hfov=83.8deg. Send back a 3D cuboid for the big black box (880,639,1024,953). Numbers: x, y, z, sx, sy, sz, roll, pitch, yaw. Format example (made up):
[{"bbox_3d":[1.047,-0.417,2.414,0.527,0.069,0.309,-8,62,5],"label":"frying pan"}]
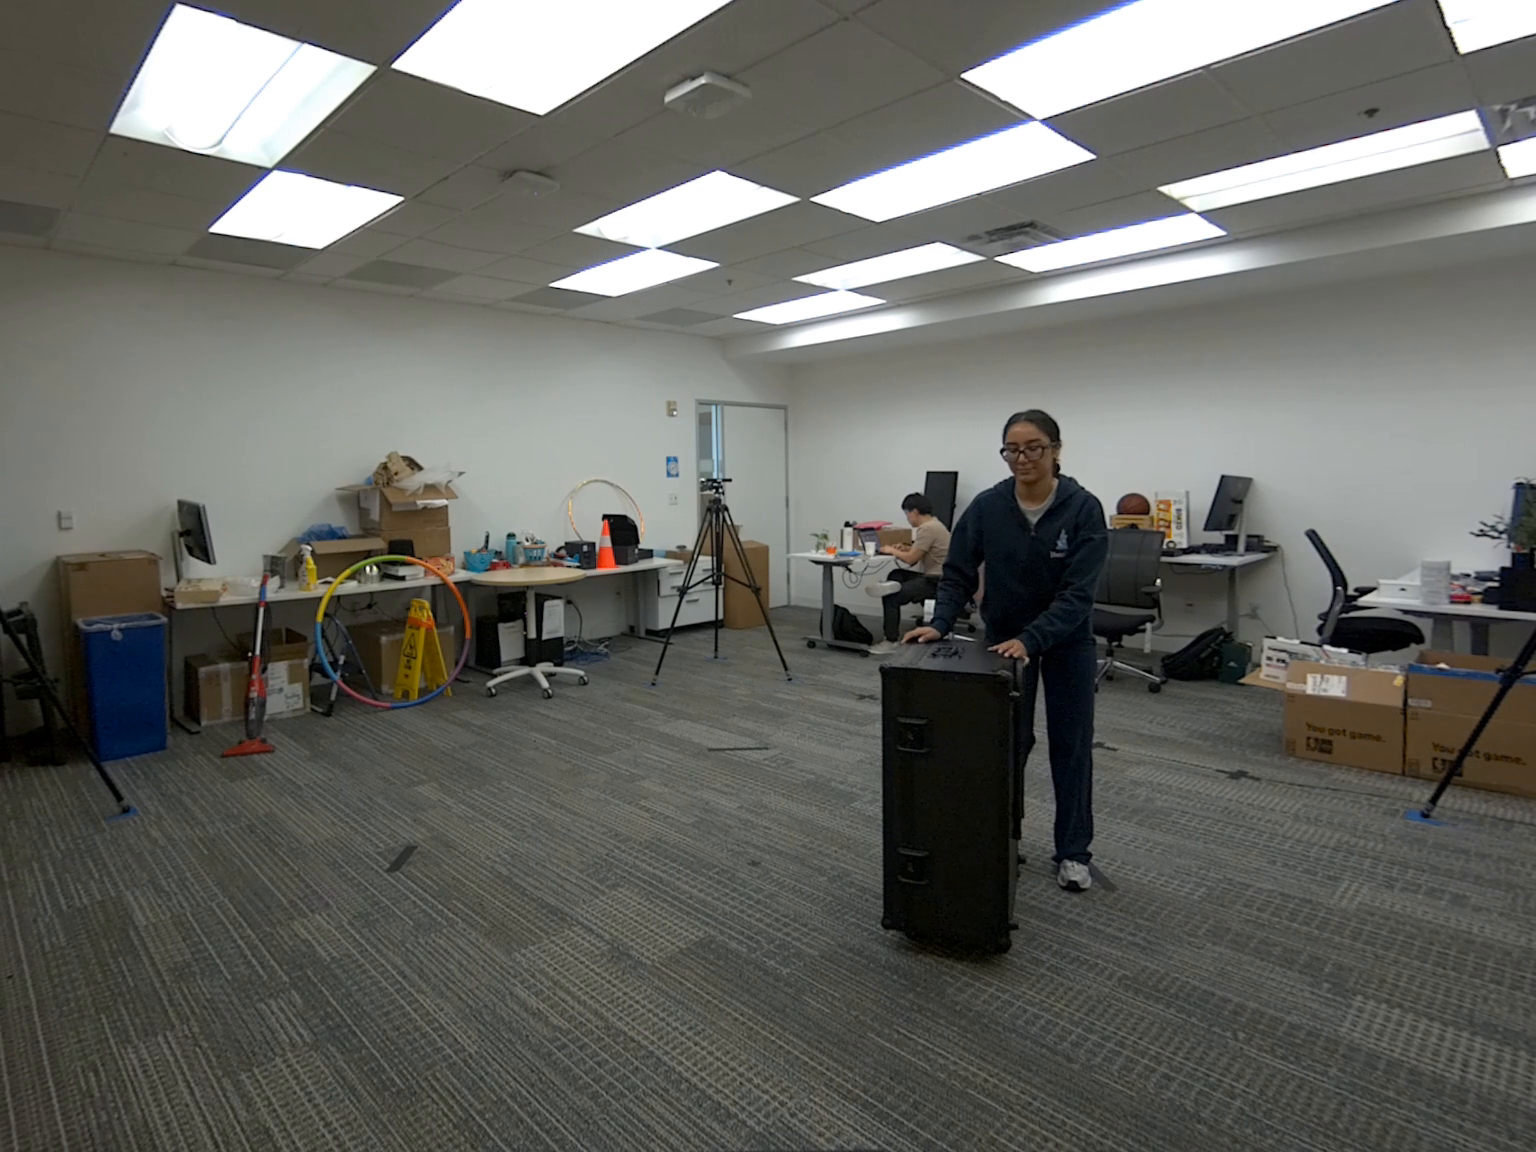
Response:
[{"bbox_3d":[0.584,0.660,2.639,0.404,0.858,0.513,1,5,21],"label":"big black box"}]
